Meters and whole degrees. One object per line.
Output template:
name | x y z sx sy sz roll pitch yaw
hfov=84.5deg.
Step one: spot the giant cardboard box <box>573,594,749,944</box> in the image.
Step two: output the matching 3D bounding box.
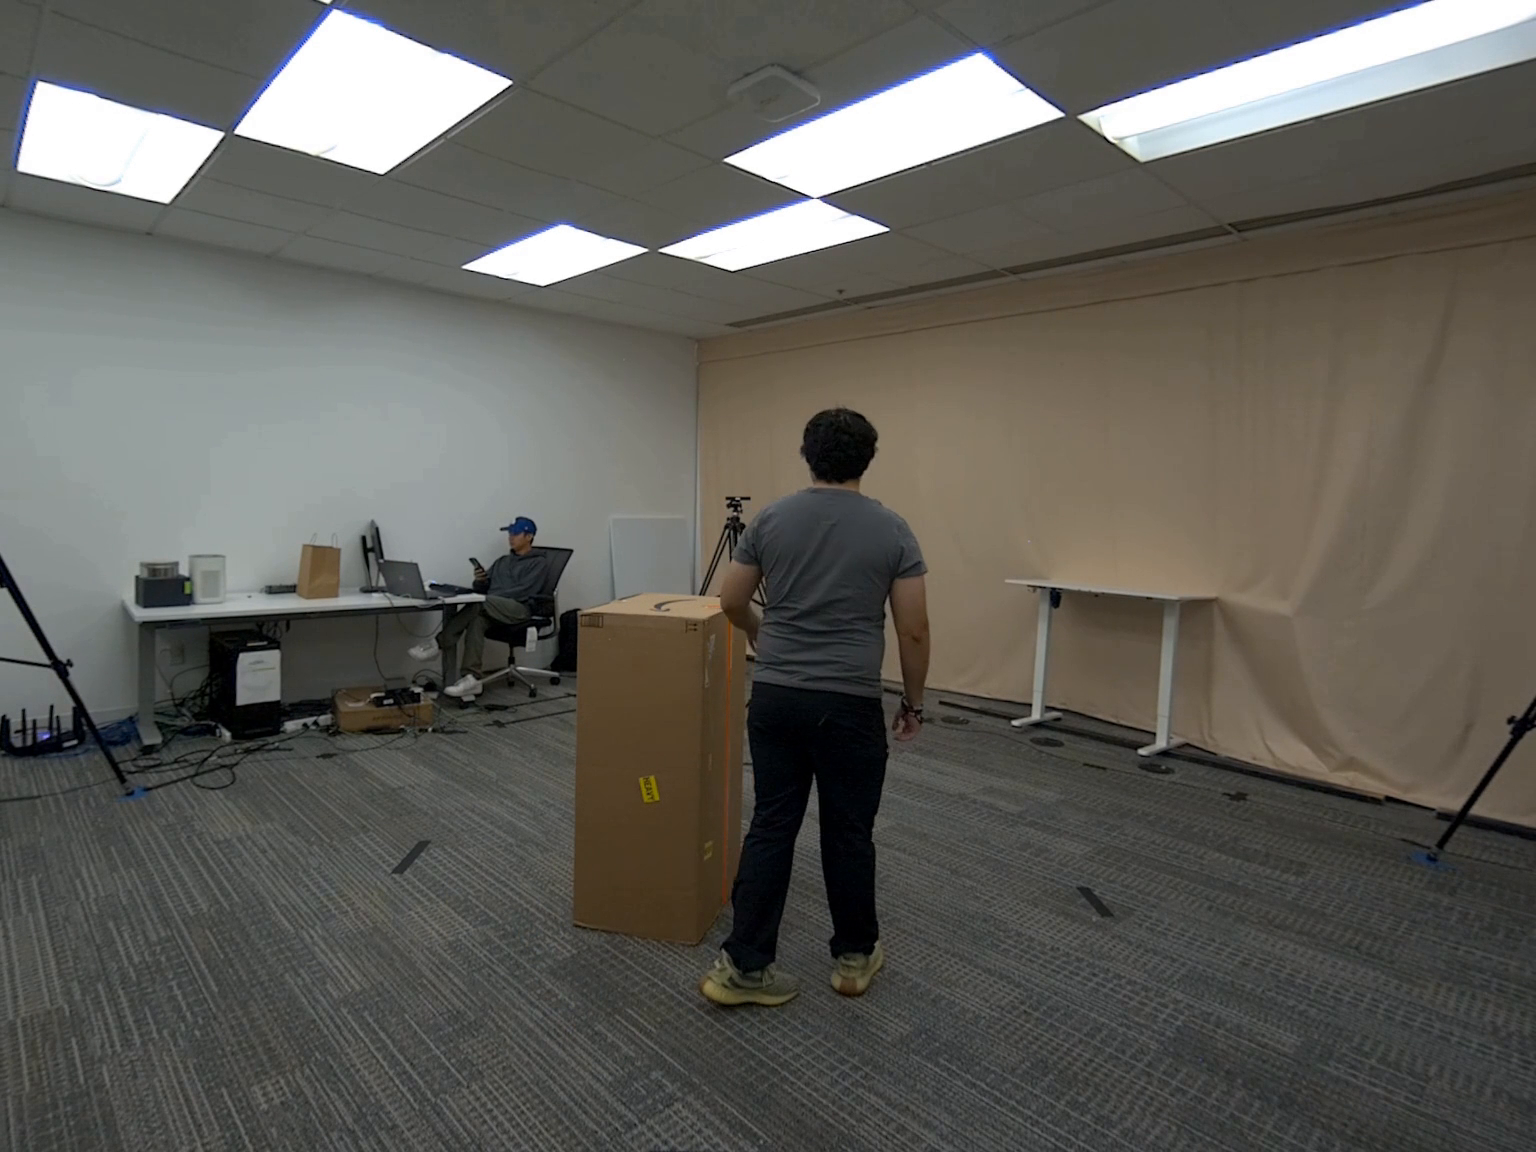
giant cardboard box | -0.355 0.609 2.913 0.431 1.023 0.572 2 3 14
